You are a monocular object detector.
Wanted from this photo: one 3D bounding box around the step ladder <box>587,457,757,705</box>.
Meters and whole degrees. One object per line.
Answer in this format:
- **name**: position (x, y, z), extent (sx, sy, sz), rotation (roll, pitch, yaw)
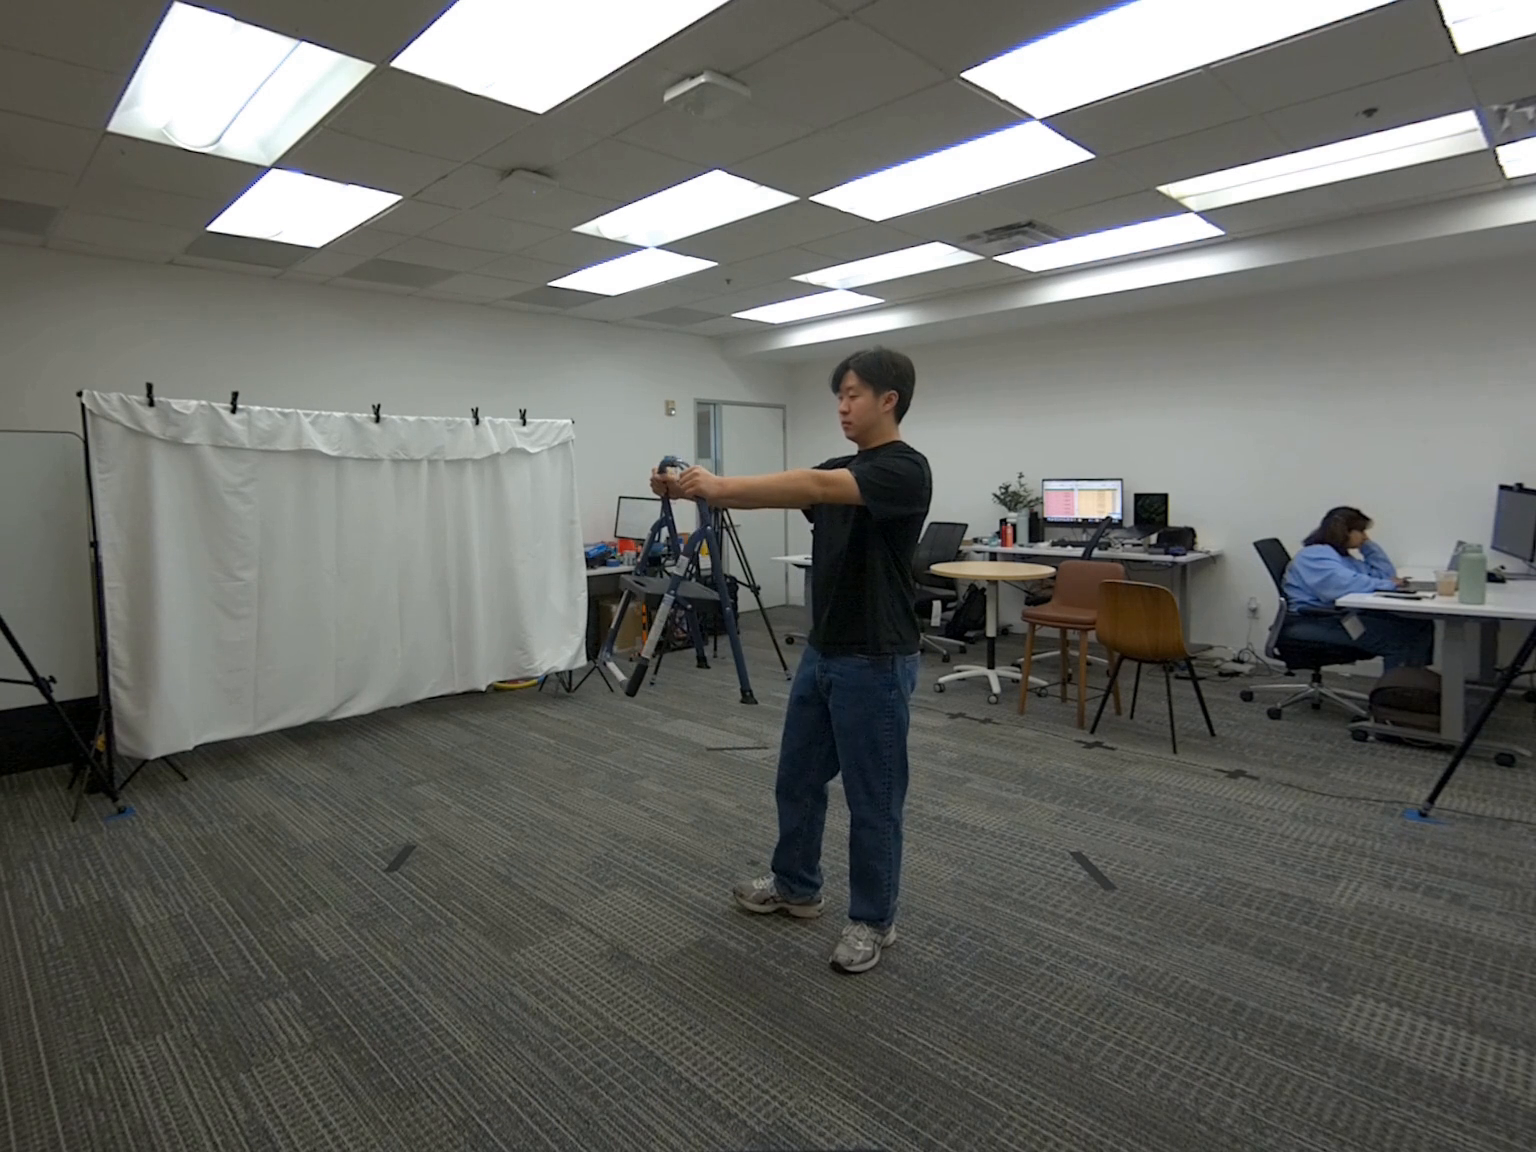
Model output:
- **step ladder**: position (-0.226, -0.005, 2.344), extent (0.342, 0.605, 0.440), rotation (6, 2, -22)
